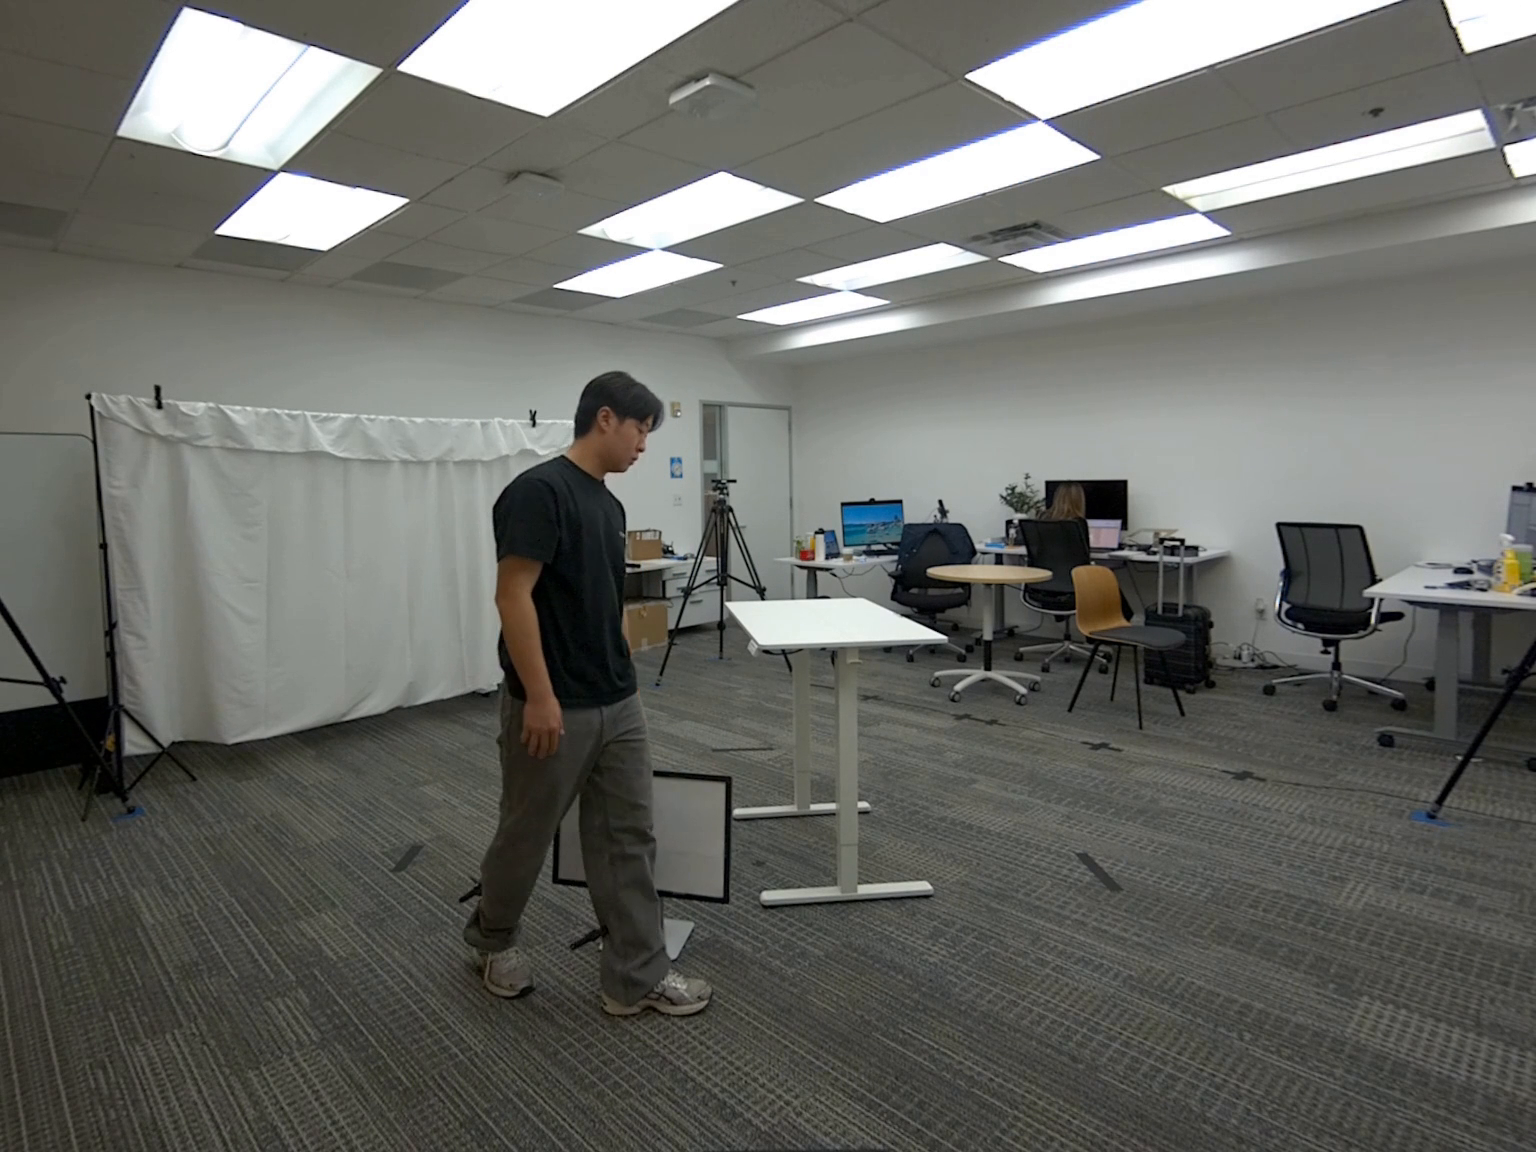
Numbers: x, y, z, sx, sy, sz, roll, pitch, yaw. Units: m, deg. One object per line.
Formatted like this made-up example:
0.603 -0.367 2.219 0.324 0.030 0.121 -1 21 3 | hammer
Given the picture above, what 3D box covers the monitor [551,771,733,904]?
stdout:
-0.363 0.856 2.590 0.571 0.561 0.220 1 9 17 | monitor
